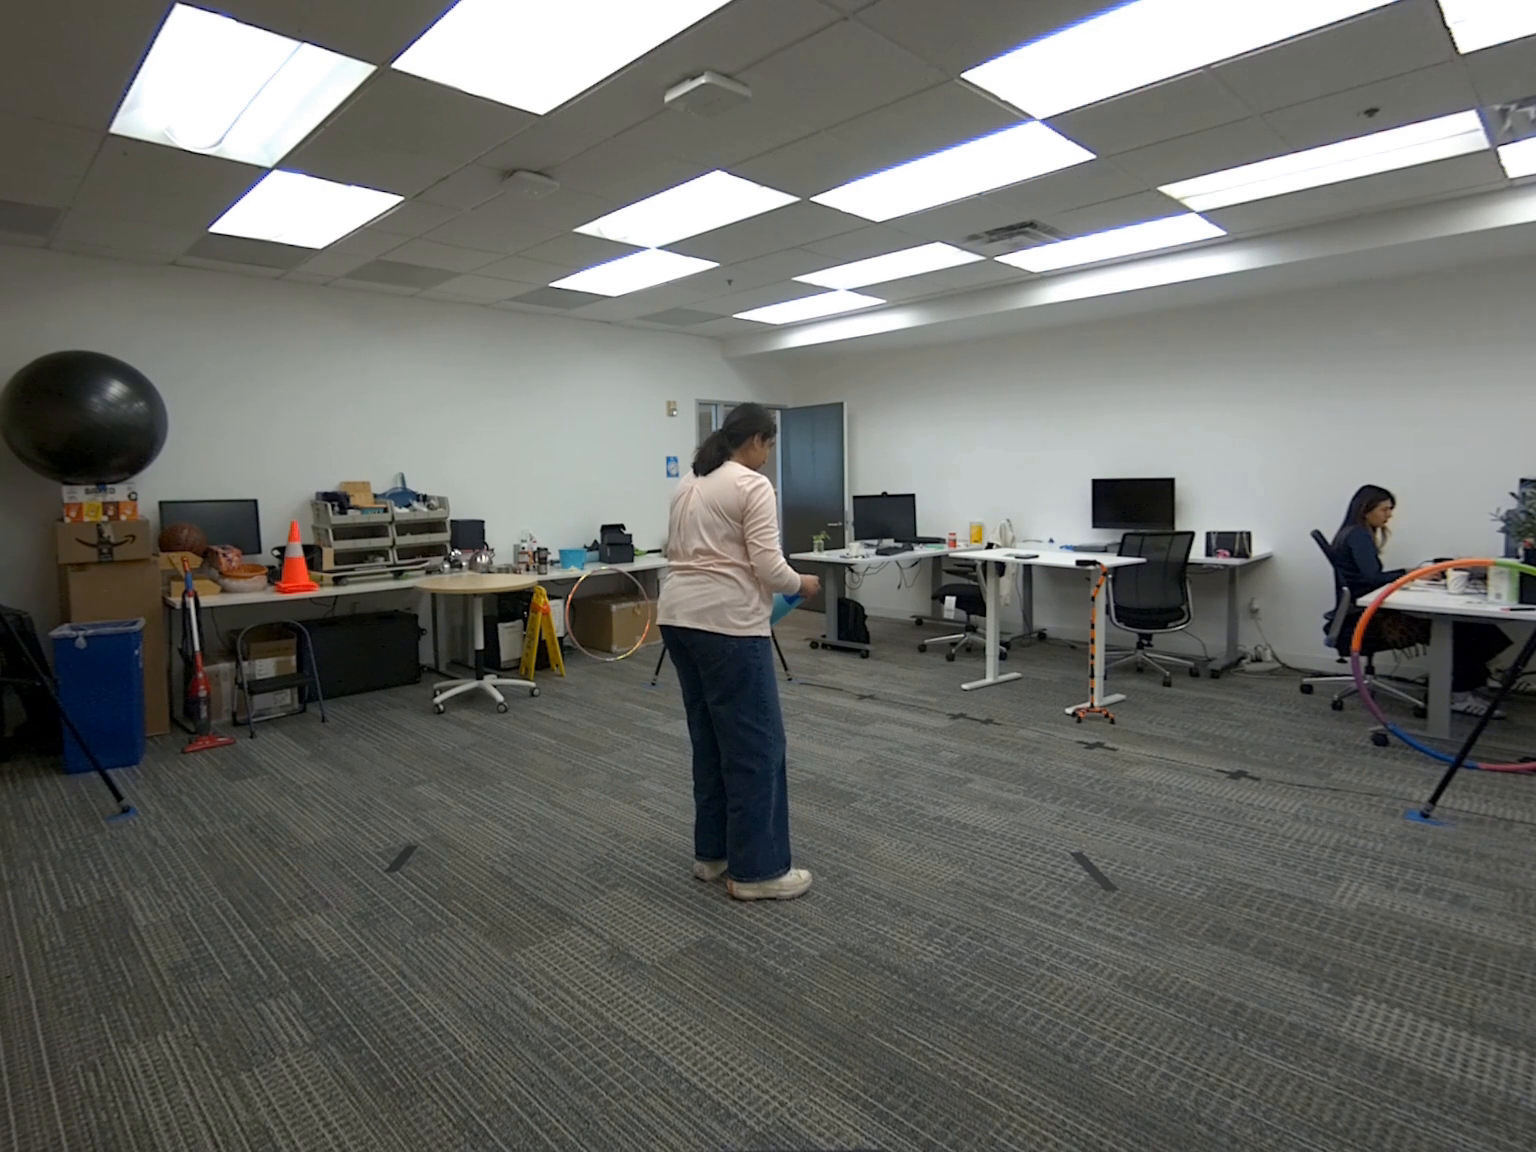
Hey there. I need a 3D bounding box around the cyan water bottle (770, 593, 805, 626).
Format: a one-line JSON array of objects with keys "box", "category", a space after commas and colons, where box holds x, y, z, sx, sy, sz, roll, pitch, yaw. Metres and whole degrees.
[{"box": [0.060, 0.093, 3.155, 0.090, 0.094, 0.284, -5, -27, -46], "category": "cyan water bottle"}]
